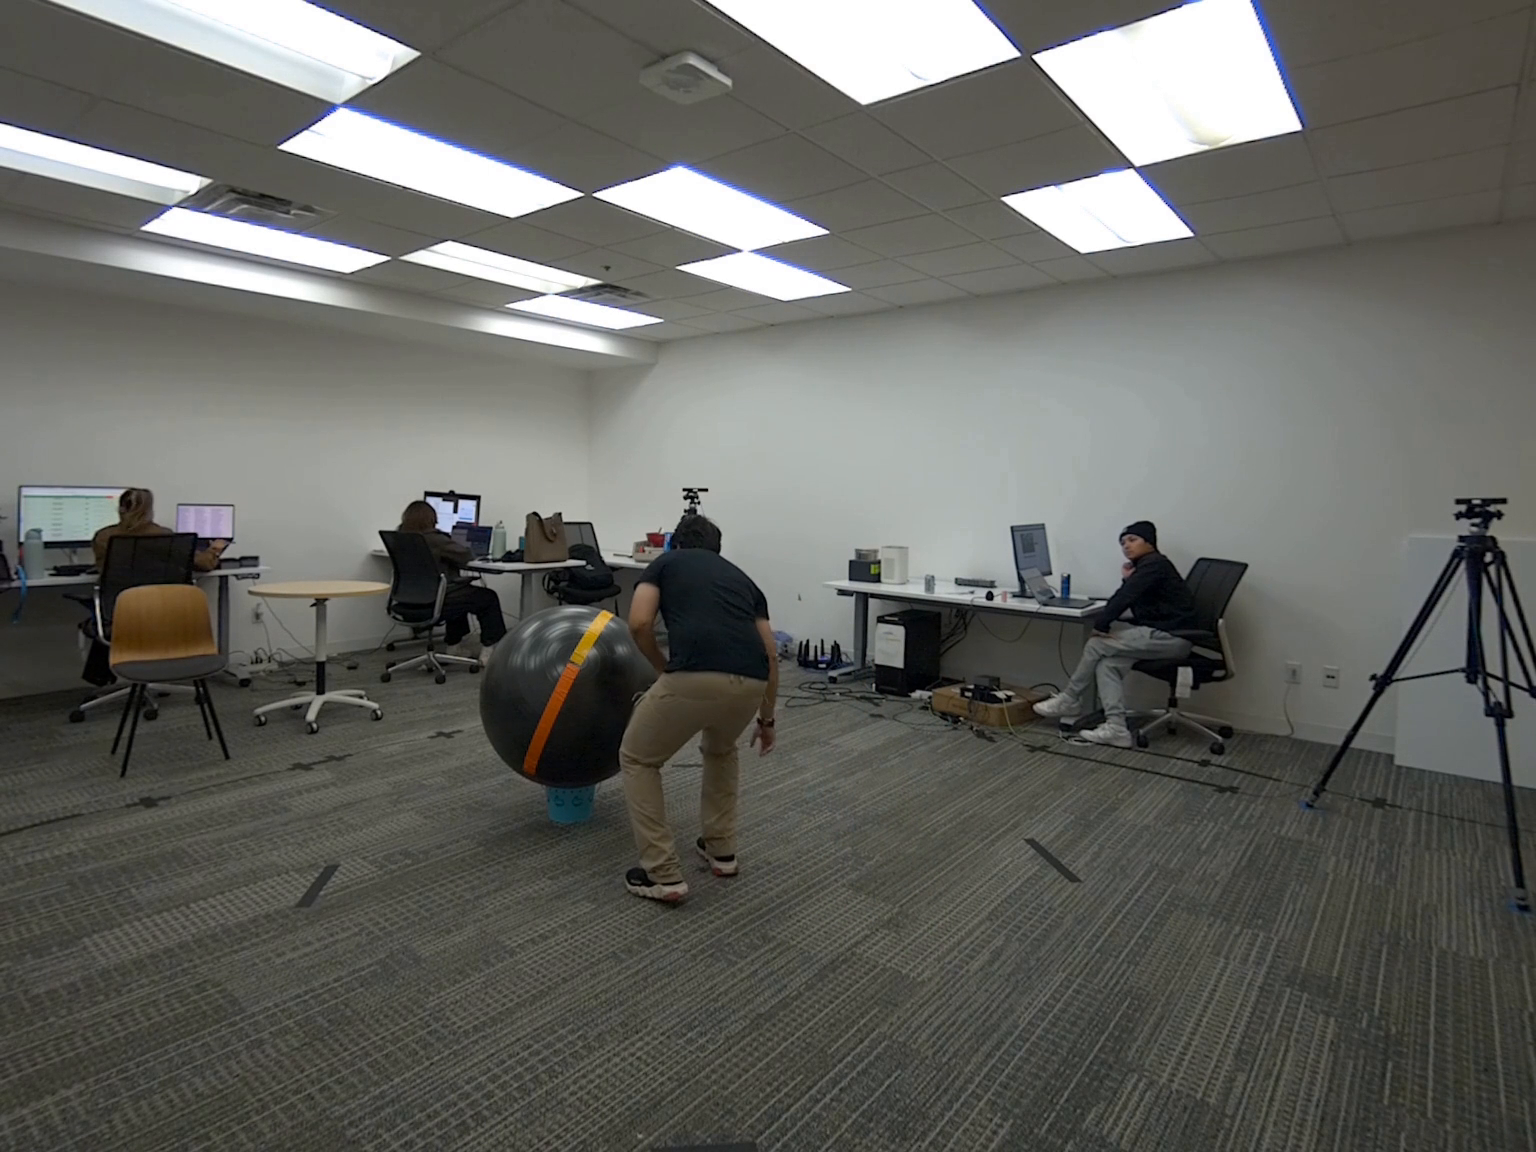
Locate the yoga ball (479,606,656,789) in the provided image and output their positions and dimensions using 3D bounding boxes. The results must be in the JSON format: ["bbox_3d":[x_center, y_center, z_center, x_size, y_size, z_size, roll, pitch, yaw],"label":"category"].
[{"bbox_3d":[-0.844,0.506,3.595,0.757,0.755,0.762,1,4,-2],"label":"yoga ball"}]
